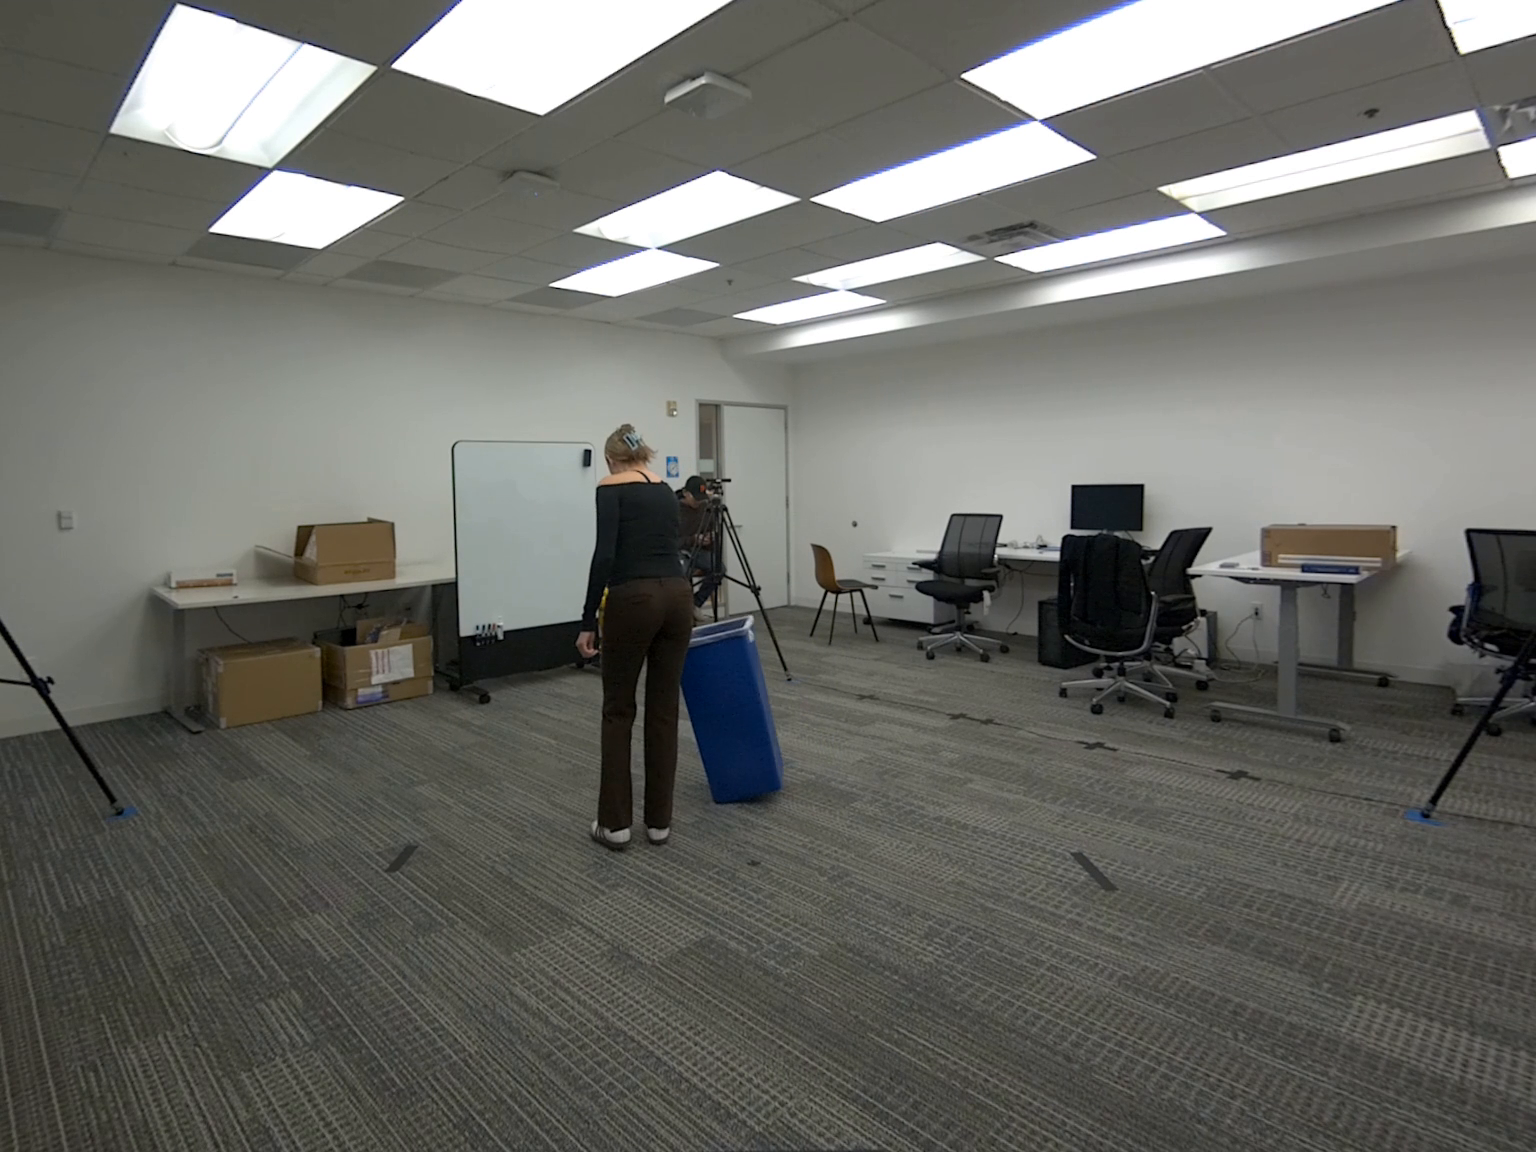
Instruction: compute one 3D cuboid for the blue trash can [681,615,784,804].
[{"bbox_3d":[-0.176,0.590,3.794,0.376,0.712,0.377,-12,2,6],"label":"blue trash can"}]
